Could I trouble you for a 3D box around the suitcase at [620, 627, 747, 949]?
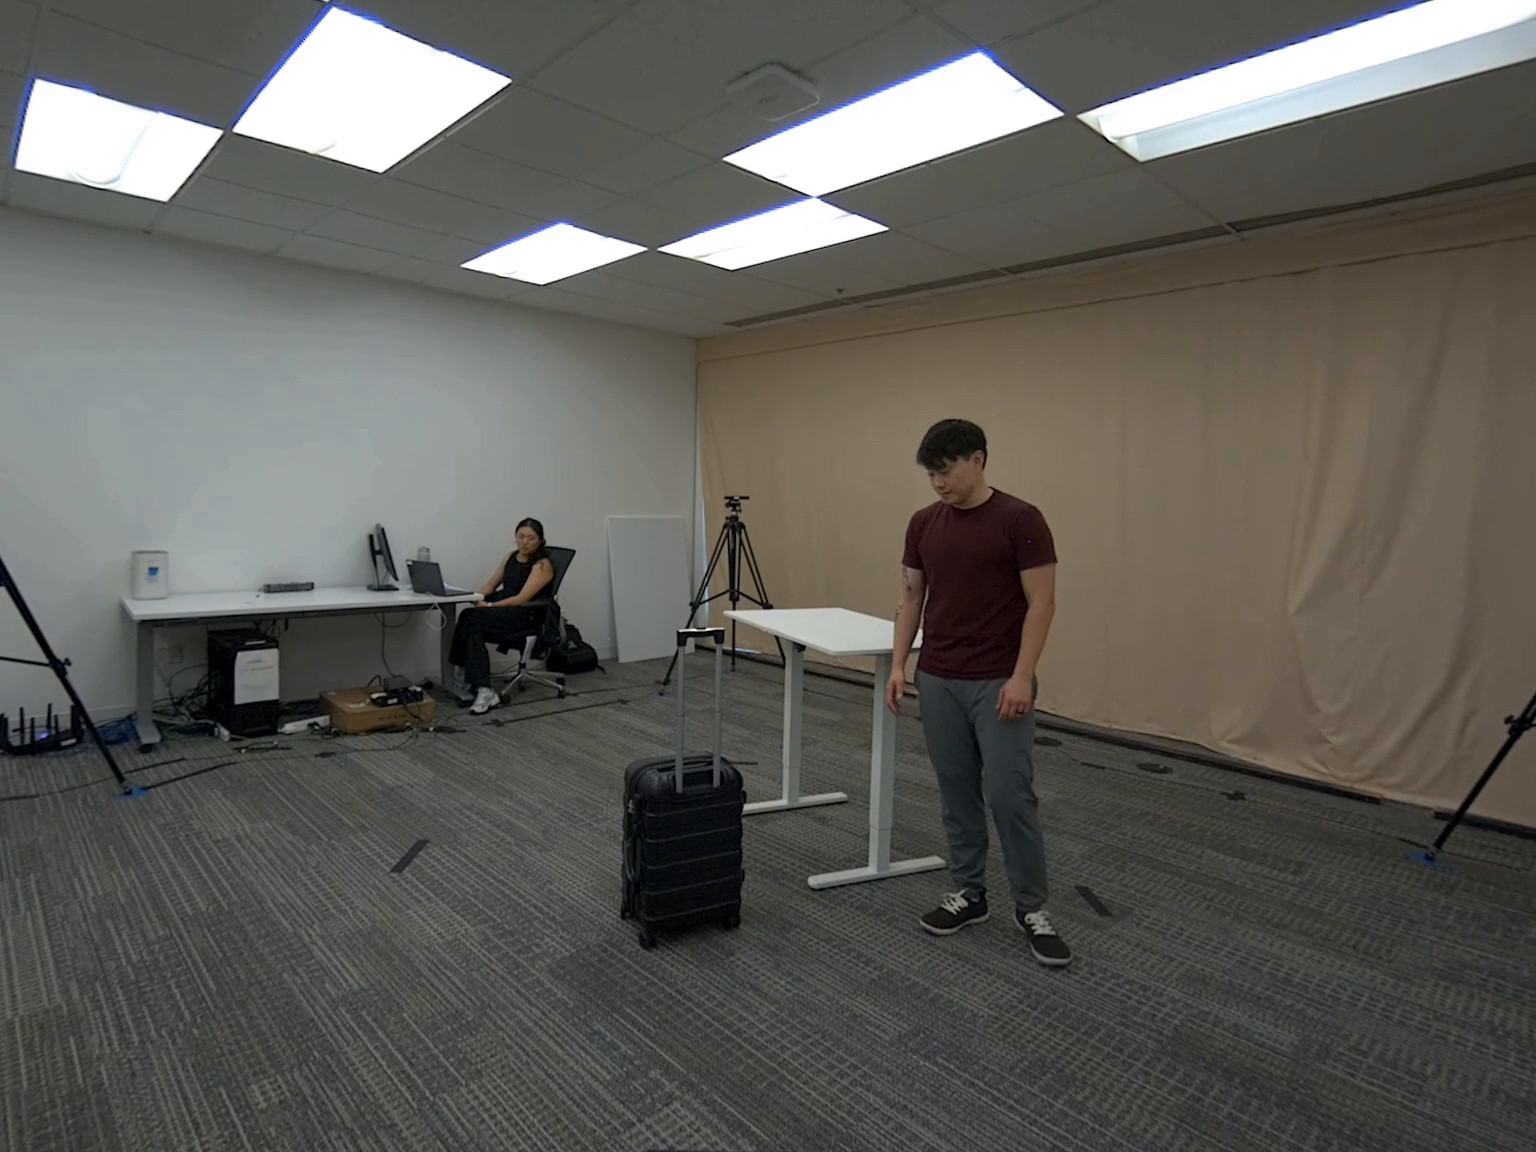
[{"bbox_3d":[-0.280,0.655,2.715,0.377,0.977,0.262,0,2,-26],"label":"suitcase"}]
